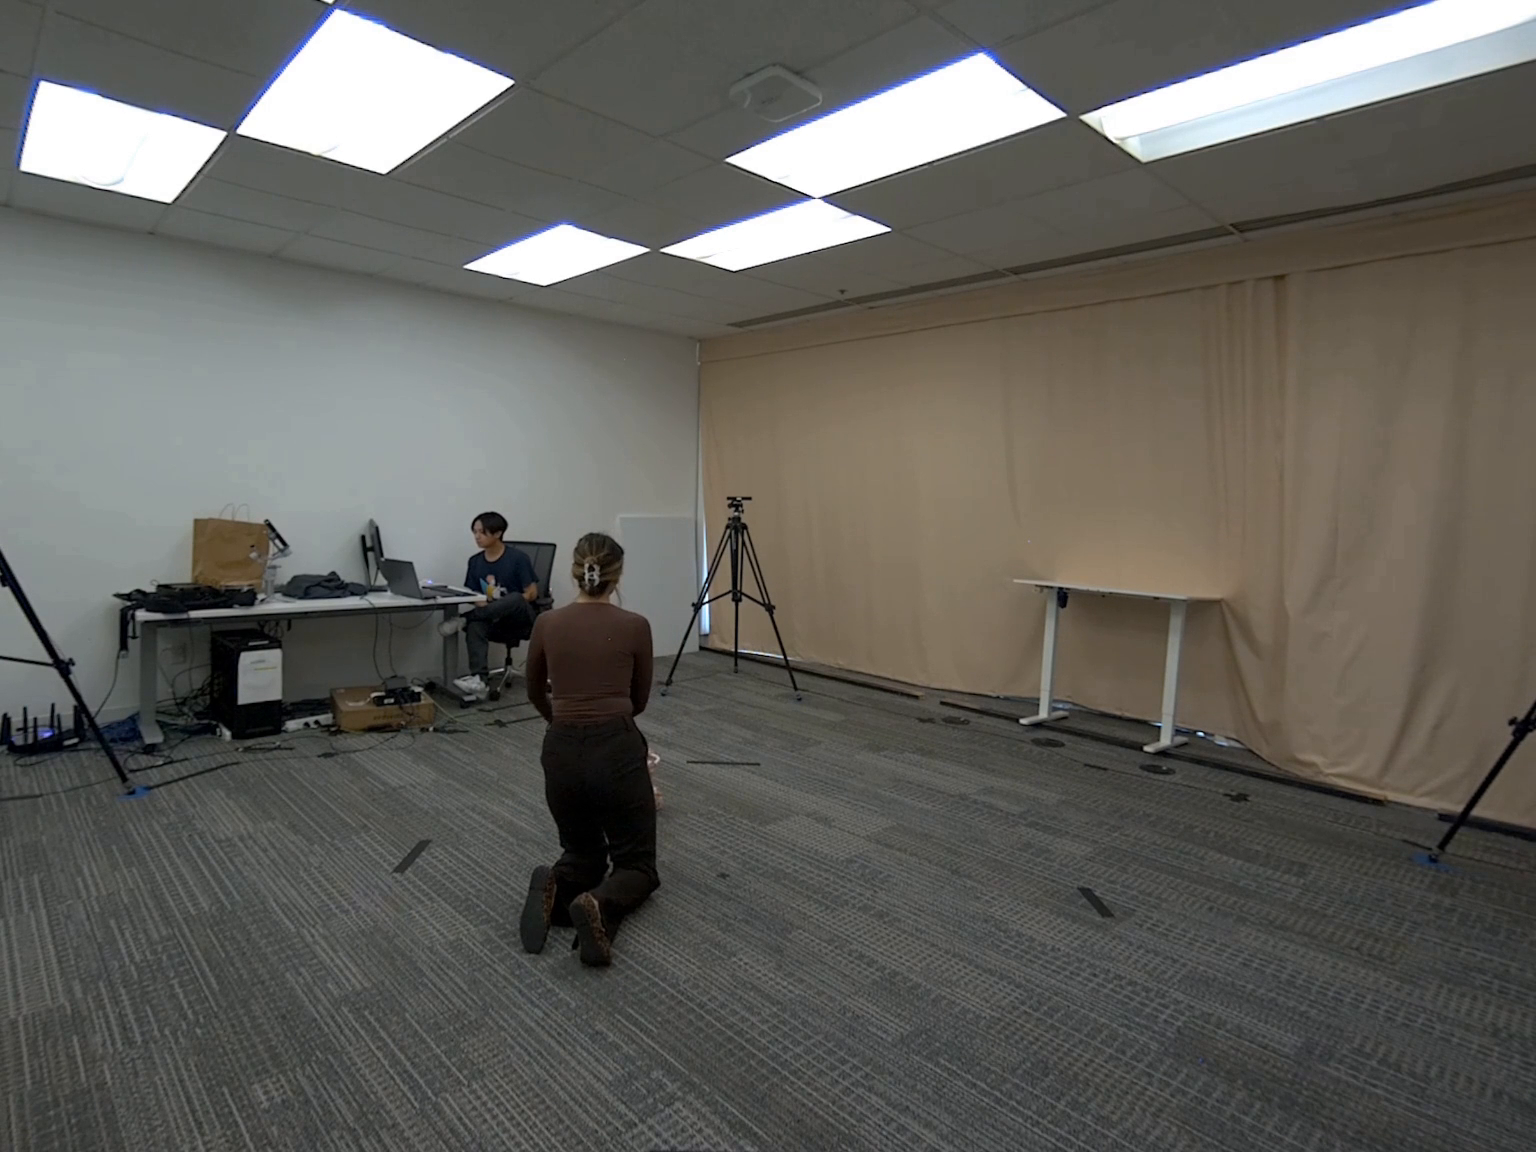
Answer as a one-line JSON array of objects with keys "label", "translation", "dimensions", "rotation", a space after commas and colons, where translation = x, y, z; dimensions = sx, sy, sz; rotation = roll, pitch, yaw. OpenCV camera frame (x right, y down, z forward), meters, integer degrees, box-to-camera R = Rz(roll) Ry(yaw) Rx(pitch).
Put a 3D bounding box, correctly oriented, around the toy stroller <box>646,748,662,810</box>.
[{"label": "toy stroller", "translation": [-0.629, 0.831, 3.605], "dimensions": [0.337, 0.528, 0.289], "rotation": [-22, 19, -38]}]
